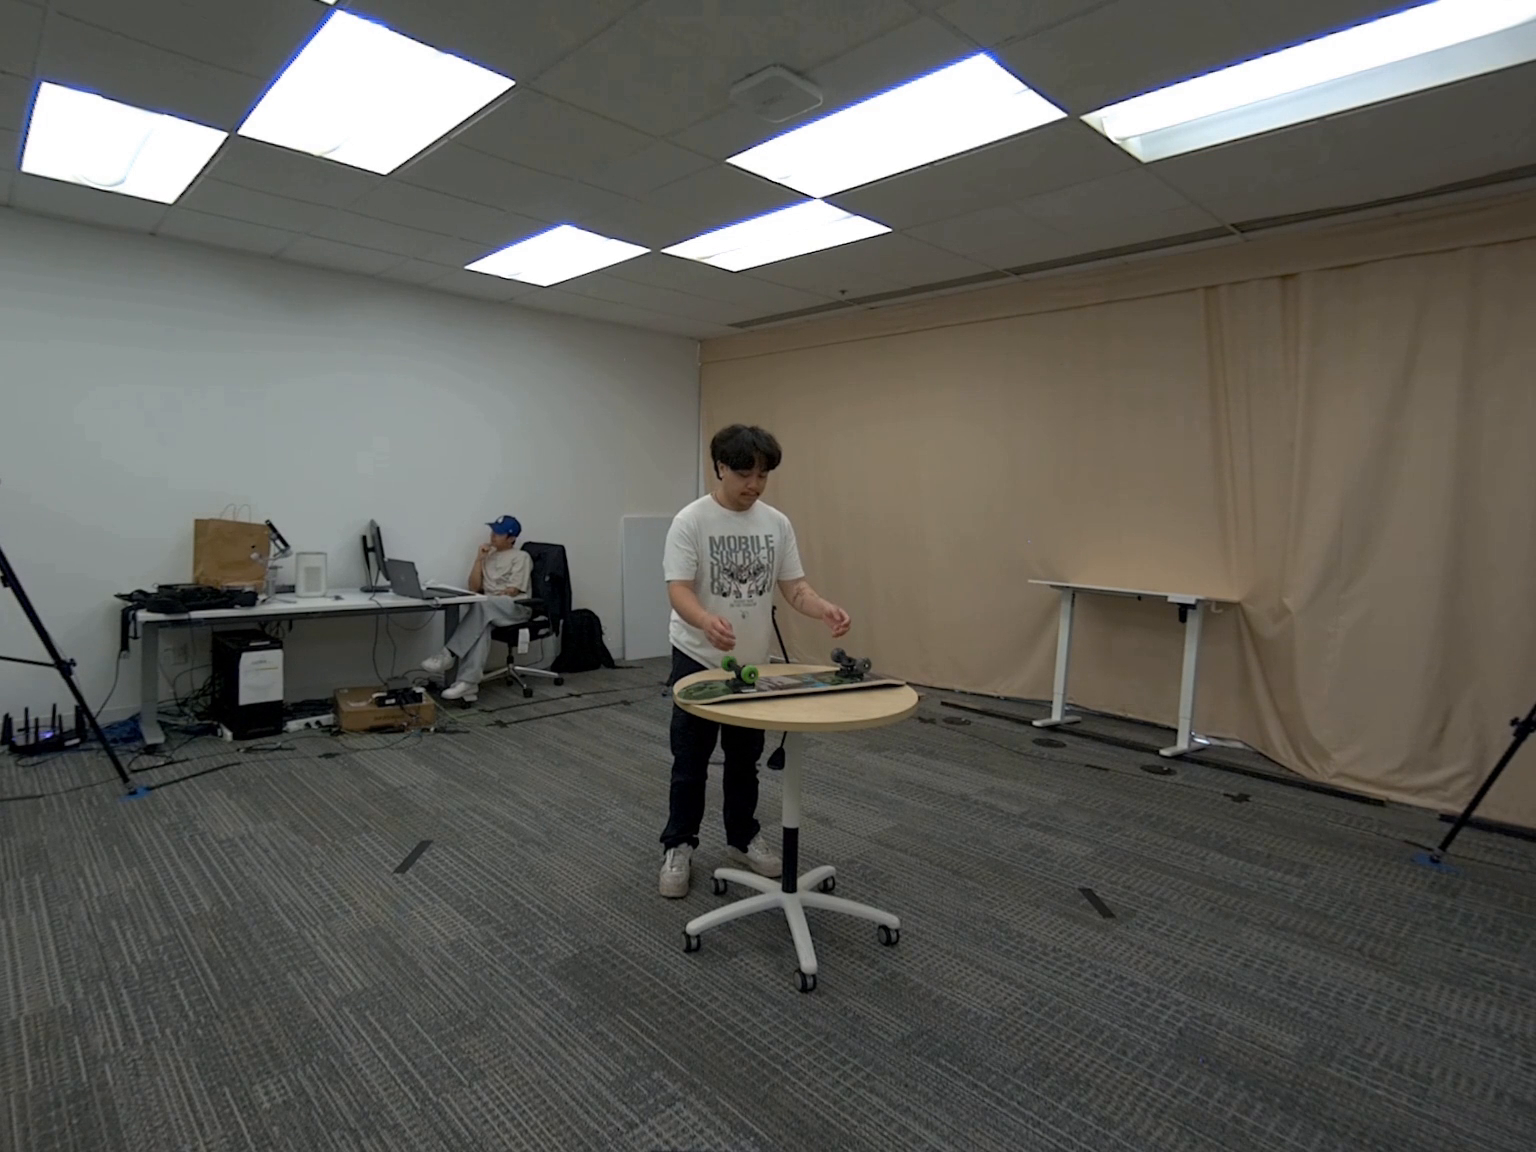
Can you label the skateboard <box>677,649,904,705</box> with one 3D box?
[{"bbox_3d":[0.083,0.315,2.638,0.772,0.110,0.197,-1,6,-23],"label":"skateboard"}]
